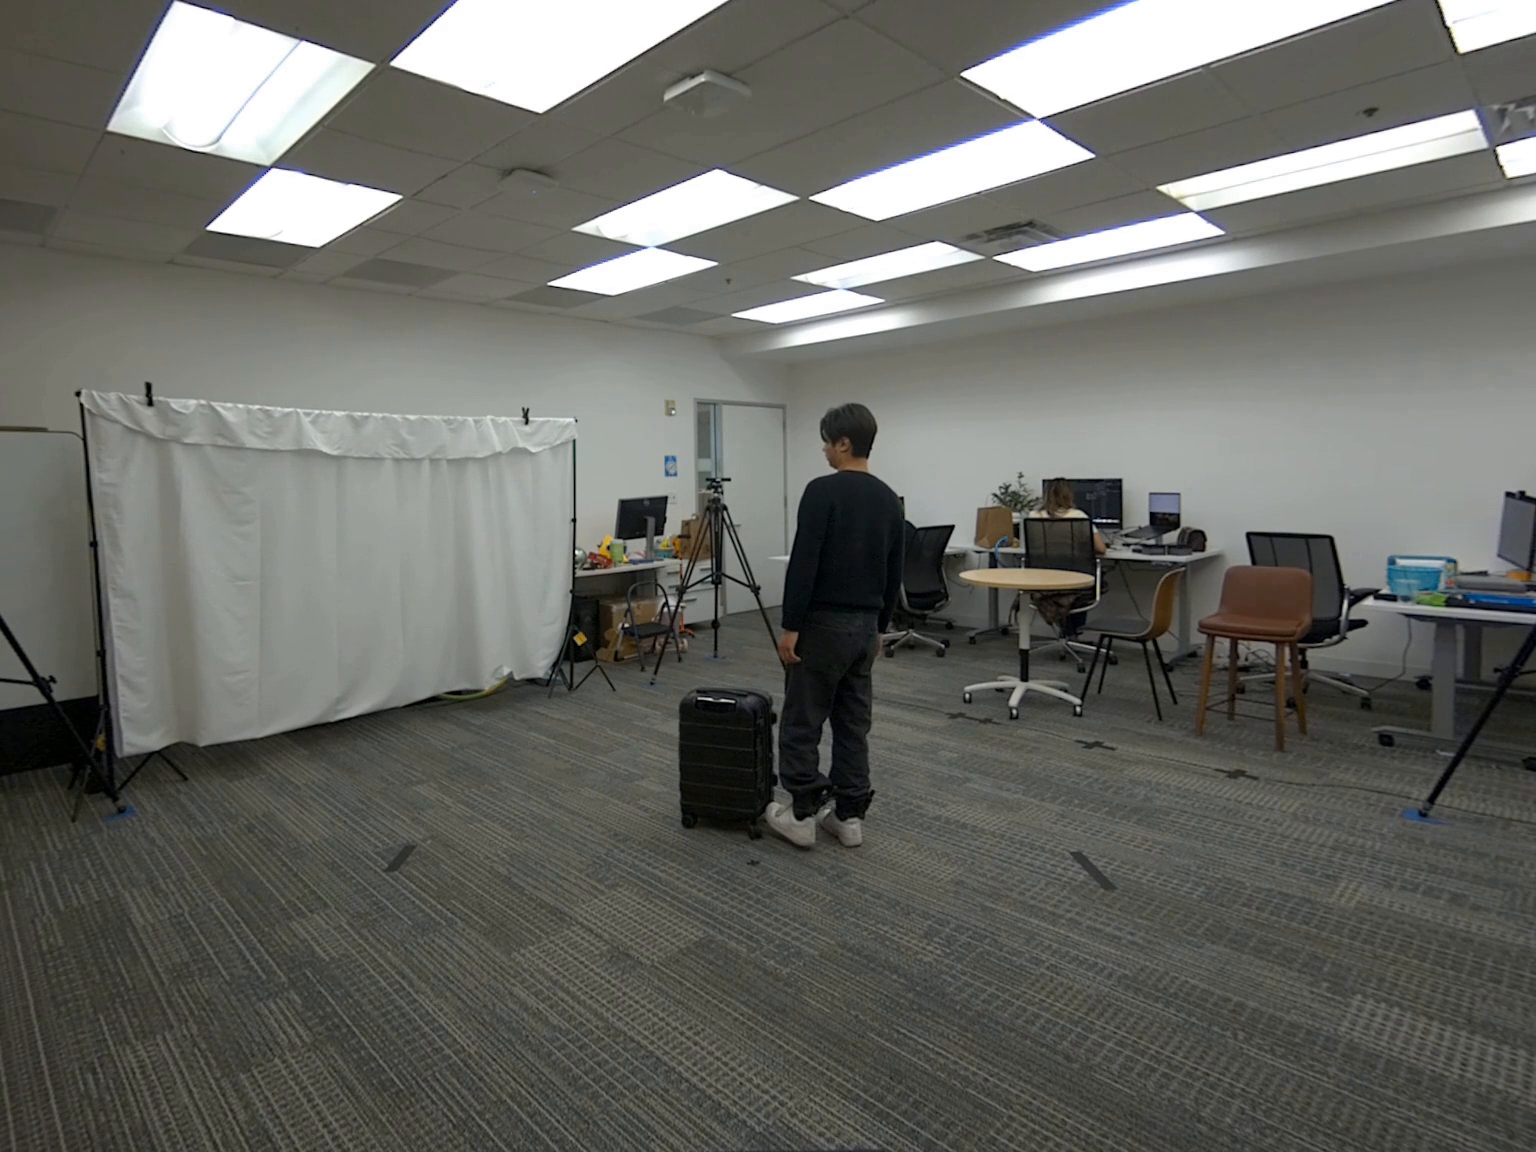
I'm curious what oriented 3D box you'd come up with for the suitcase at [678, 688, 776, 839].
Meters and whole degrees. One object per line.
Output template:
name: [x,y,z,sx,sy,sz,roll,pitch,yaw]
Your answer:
suitcase: [-0.169,0.730,3.480,0.383,0.548,0.244,0,3,21]
